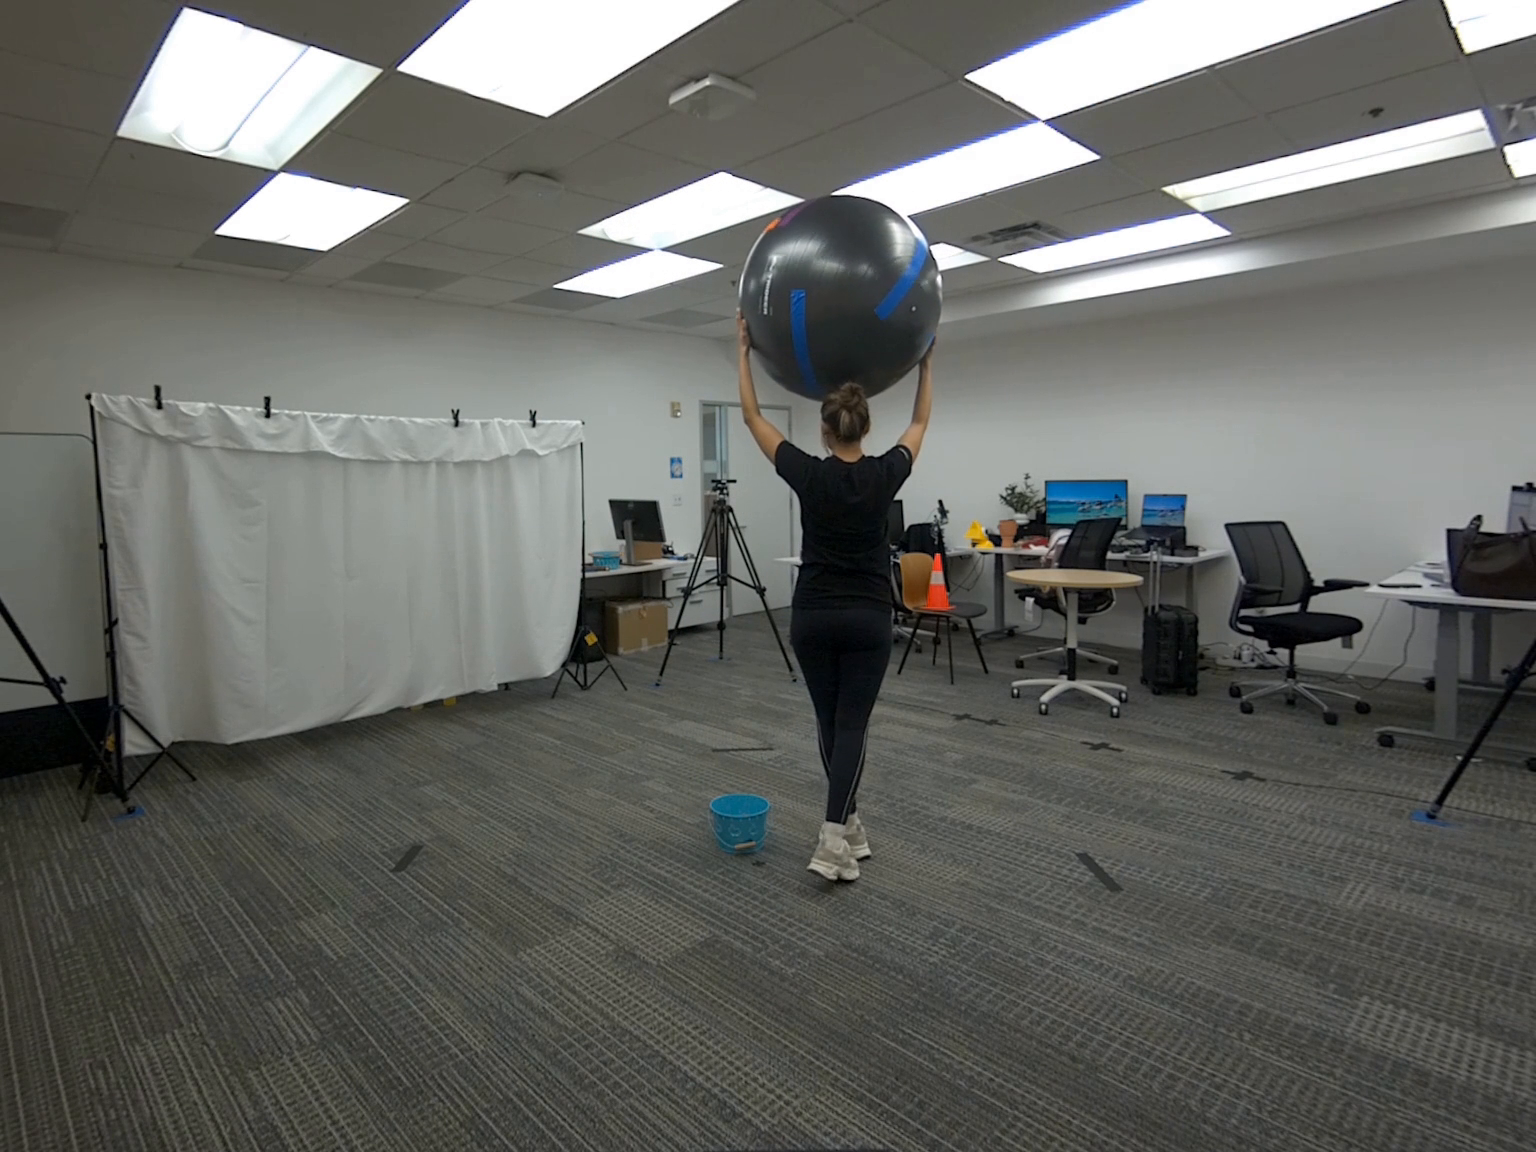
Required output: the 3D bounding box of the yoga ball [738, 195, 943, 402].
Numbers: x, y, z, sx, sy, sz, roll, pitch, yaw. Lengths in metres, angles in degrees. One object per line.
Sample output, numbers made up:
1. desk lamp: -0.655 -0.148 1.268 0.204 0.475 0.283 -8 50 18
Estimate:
1. yoga ball: 0.263 -1.026 3.216 0.757 0.755 0.762 -1 5 -2
